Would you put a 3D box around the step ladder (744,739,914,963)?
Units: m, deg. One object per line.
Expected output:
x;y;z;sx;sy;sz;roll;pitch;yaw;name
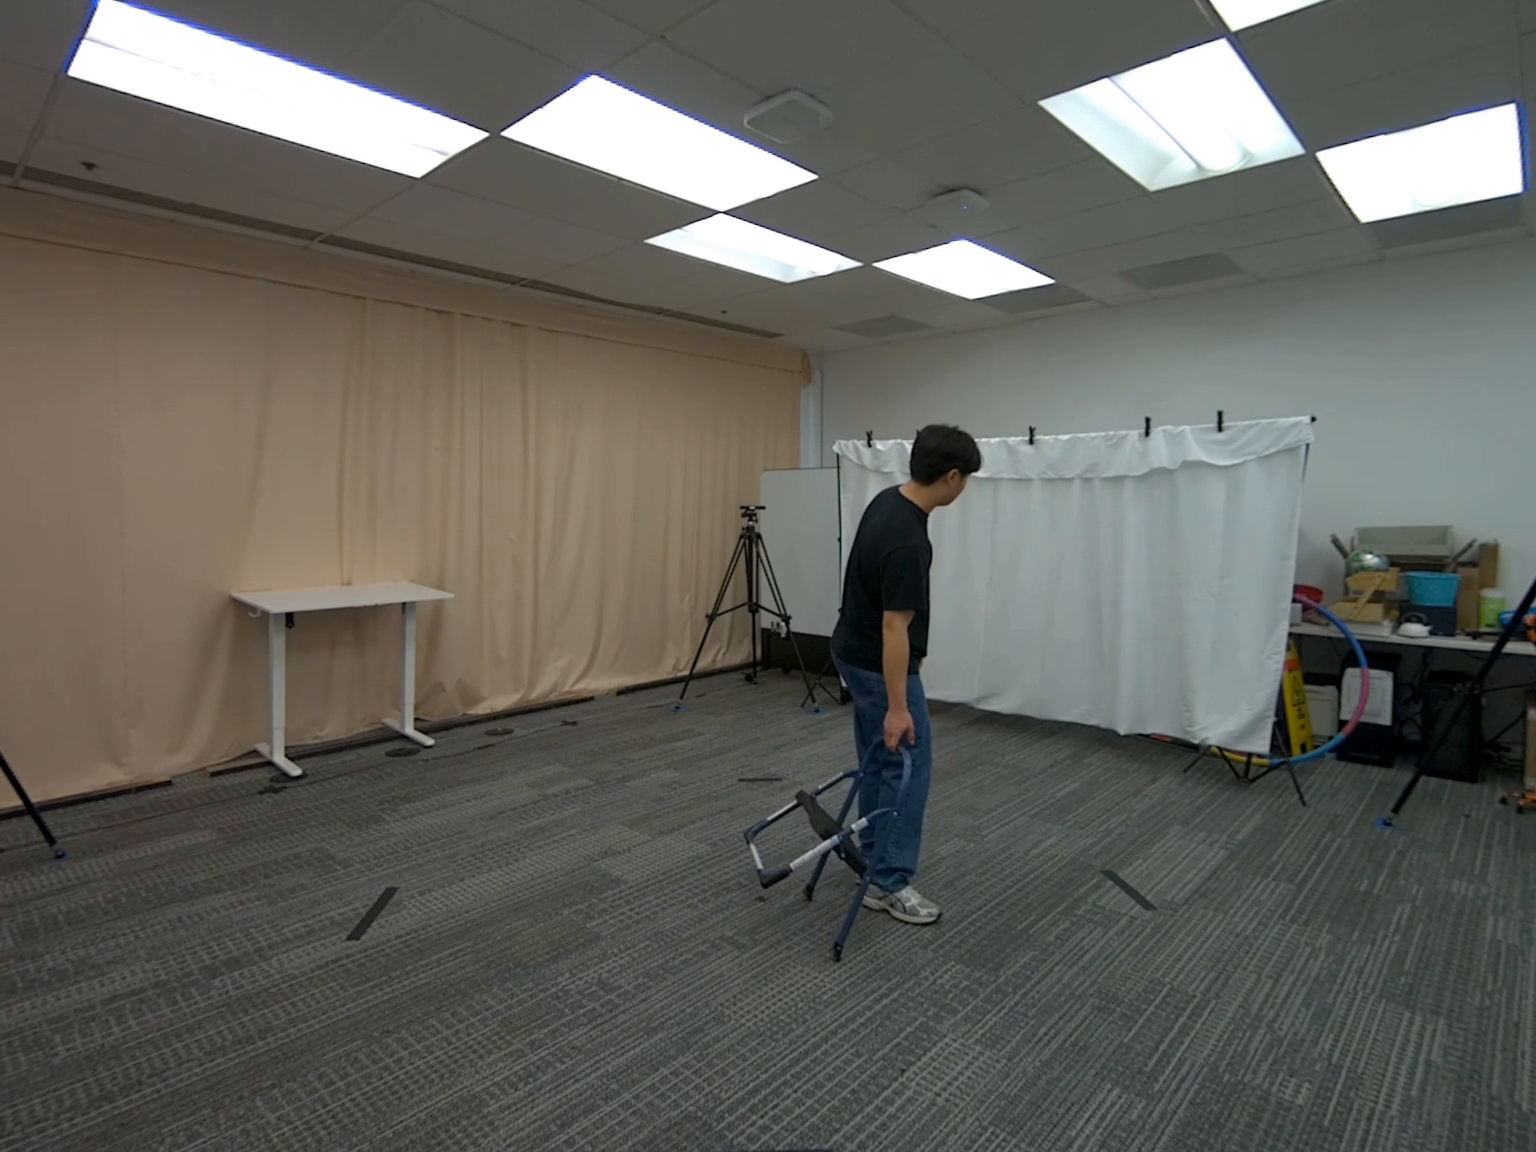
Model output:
0.271;0.821;2.767;0.346;0.605;0.435;44;-3;-9;step ladder
